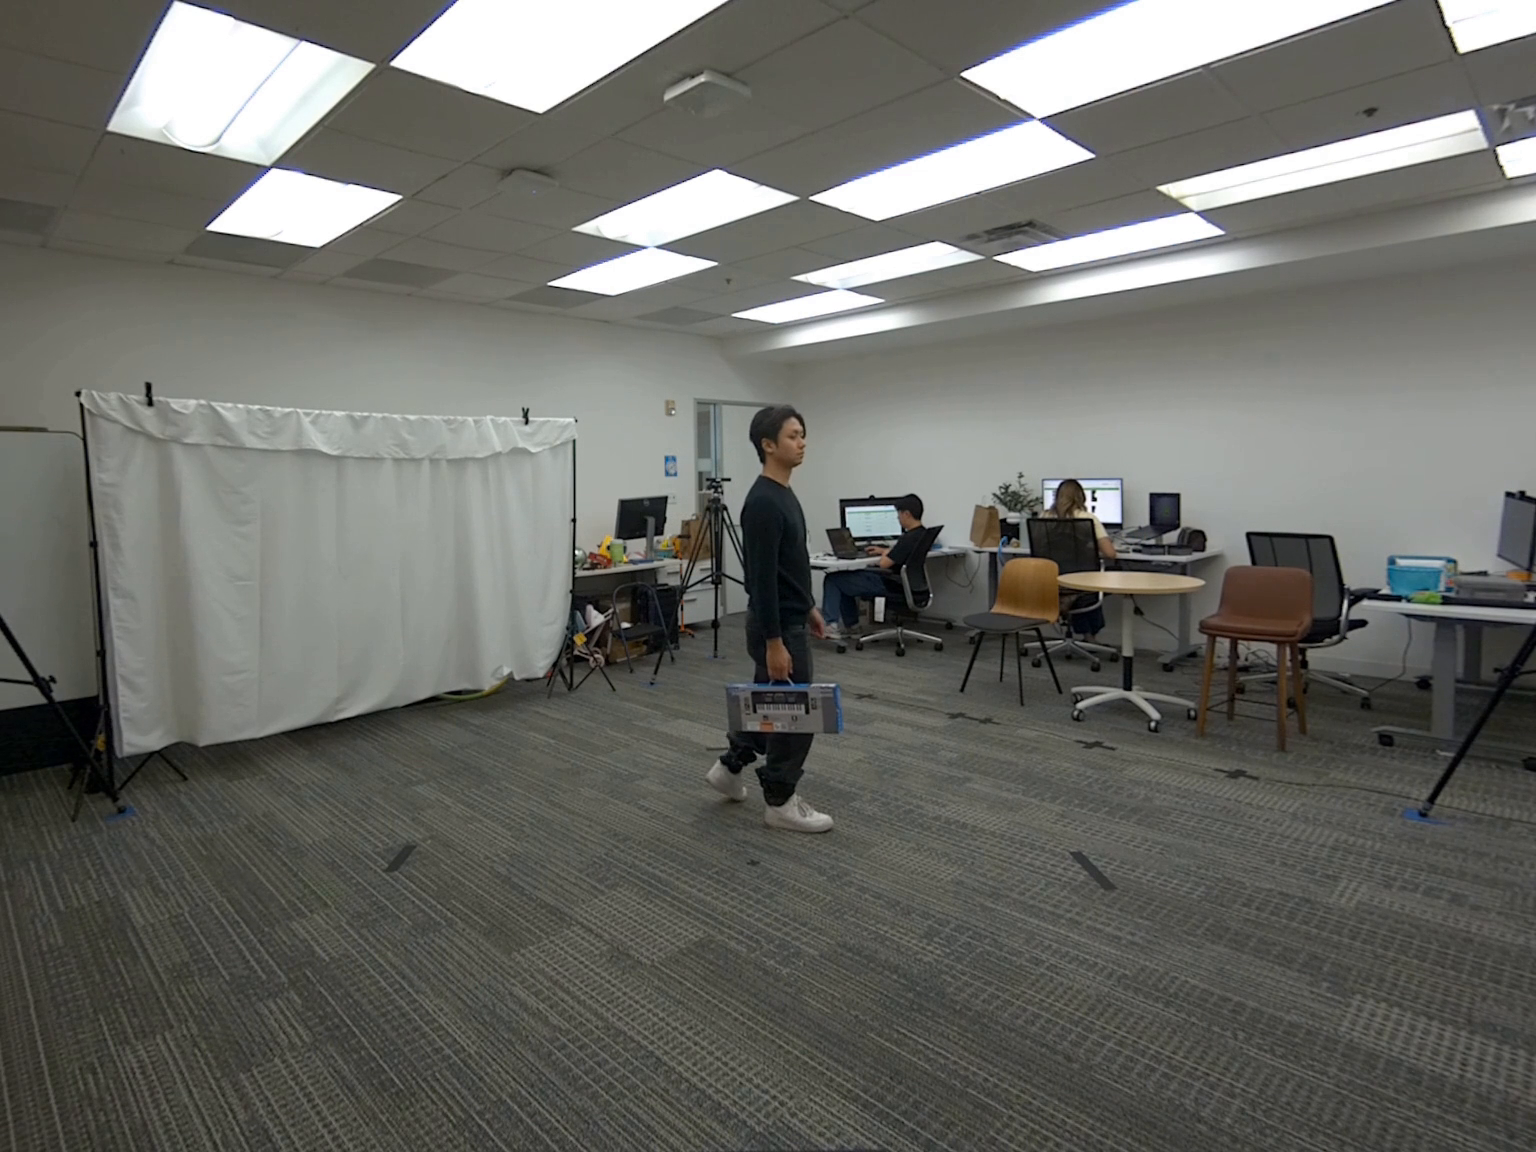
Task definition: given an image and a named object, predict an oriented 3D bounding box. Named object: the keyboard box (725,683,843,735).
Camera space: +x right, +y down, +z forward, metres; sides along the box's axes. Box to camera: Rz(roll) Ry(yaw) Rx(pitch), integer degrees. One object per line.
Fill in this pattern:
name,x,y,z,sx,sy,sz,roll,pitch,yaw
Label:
keyboard box,0.056,0.495,3.204,0.446,0.175,0.058,-3,2,24
